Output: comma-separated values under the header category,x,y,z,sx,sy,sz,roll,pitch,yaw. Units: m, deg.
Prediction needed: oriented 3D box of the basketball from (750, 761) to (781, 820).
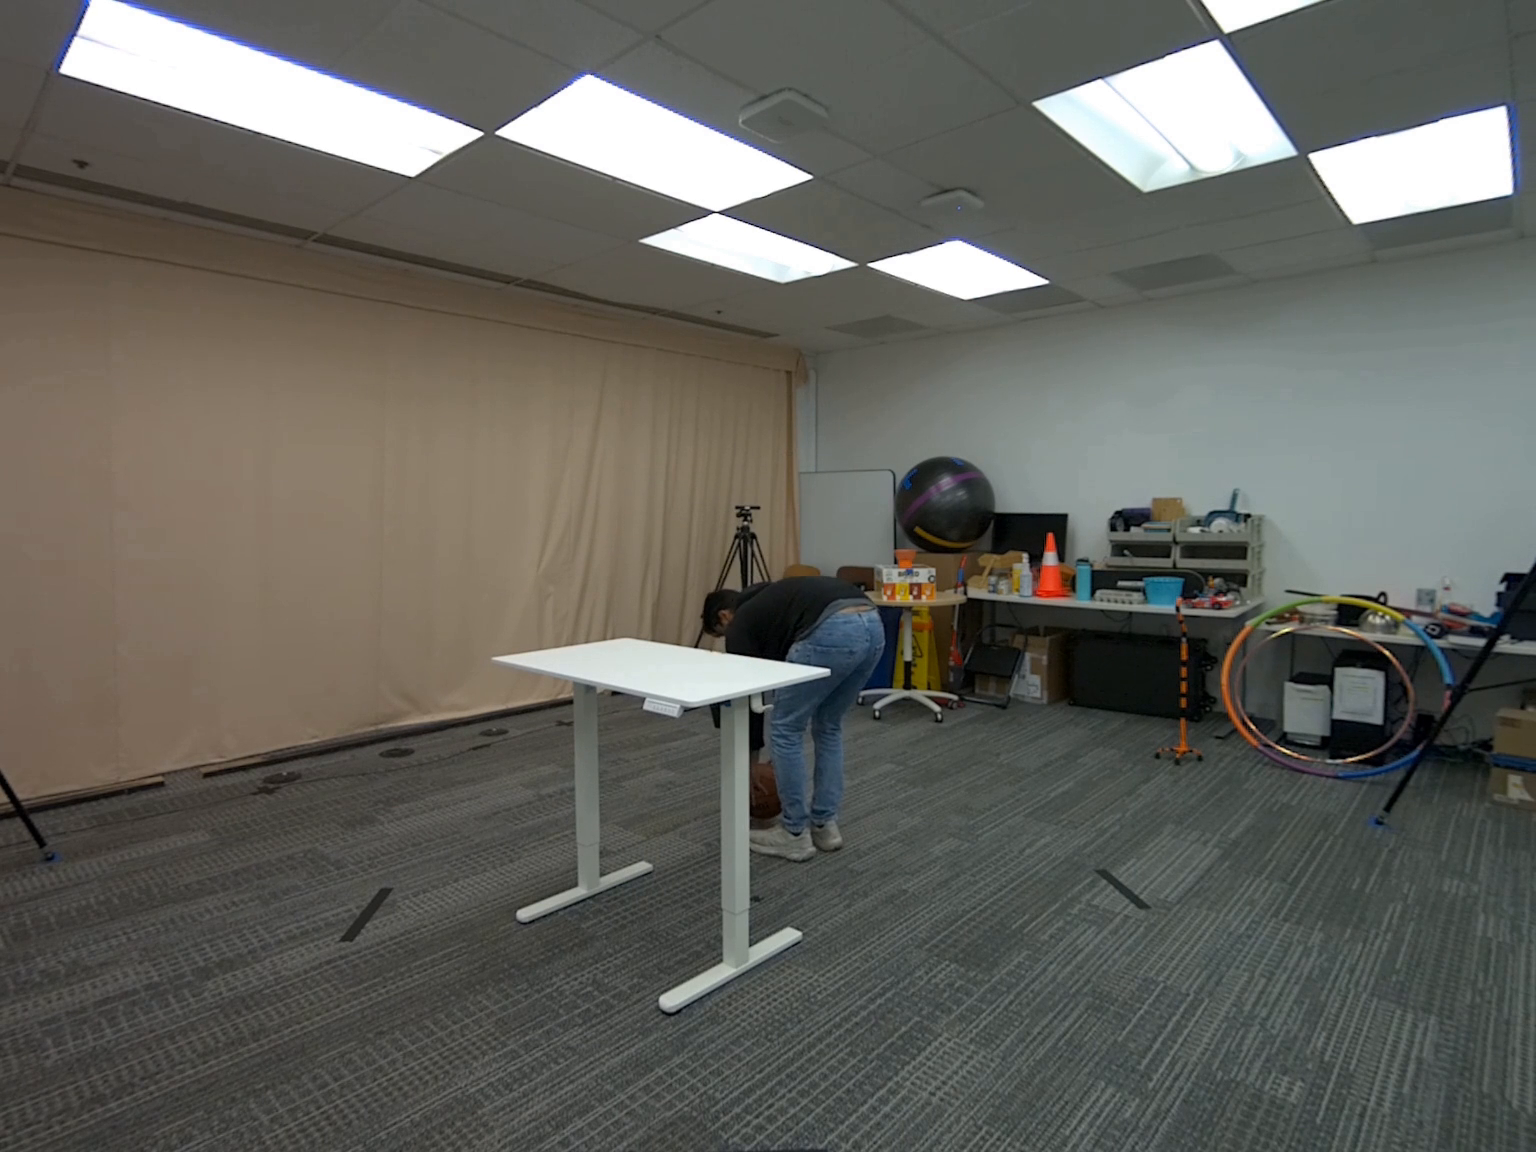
category,x,y,z,sx,sy,sz,roll,pitch,yaw
basketball,-0.031,0.918,3.679,0.236,0.235,0.237,0,4,-2
